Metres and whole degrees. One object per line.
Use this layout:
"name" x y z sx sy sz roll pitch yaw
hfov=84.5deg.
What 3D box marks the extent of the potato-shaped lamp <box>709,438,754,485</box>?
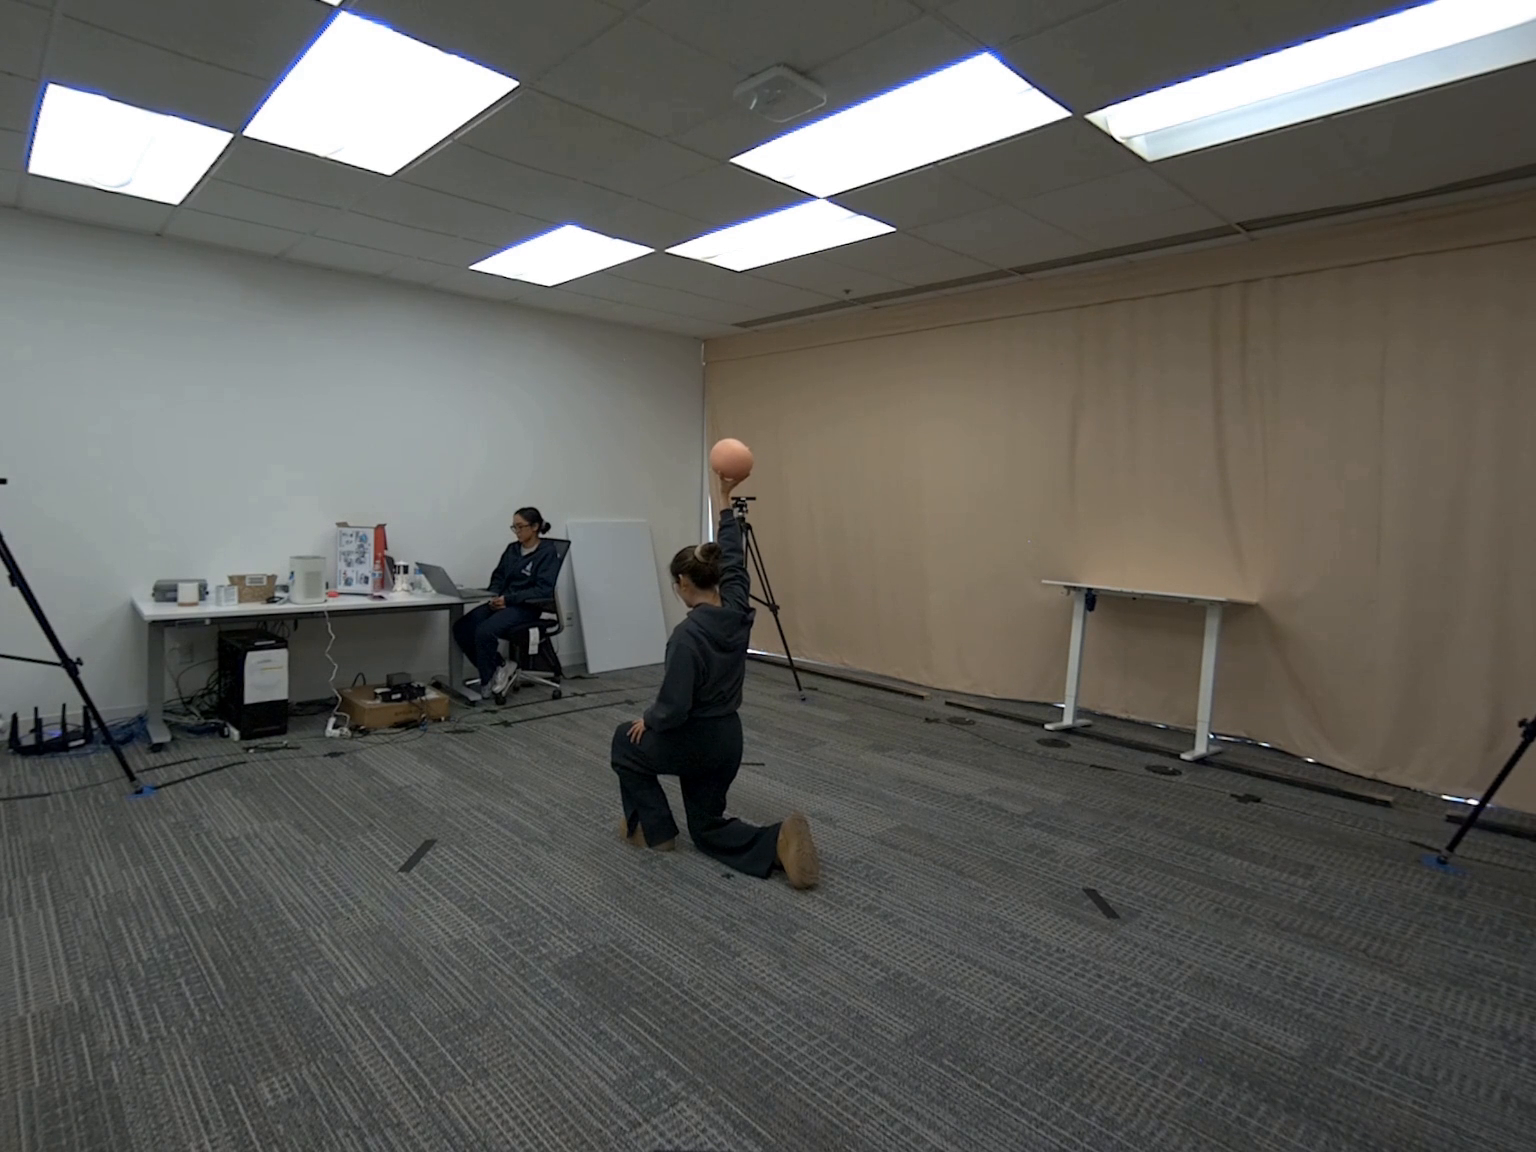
"potato-shaped lamp" -0.155 -0.477 3.490 0.167 0.164 0.204 10 11 -36
